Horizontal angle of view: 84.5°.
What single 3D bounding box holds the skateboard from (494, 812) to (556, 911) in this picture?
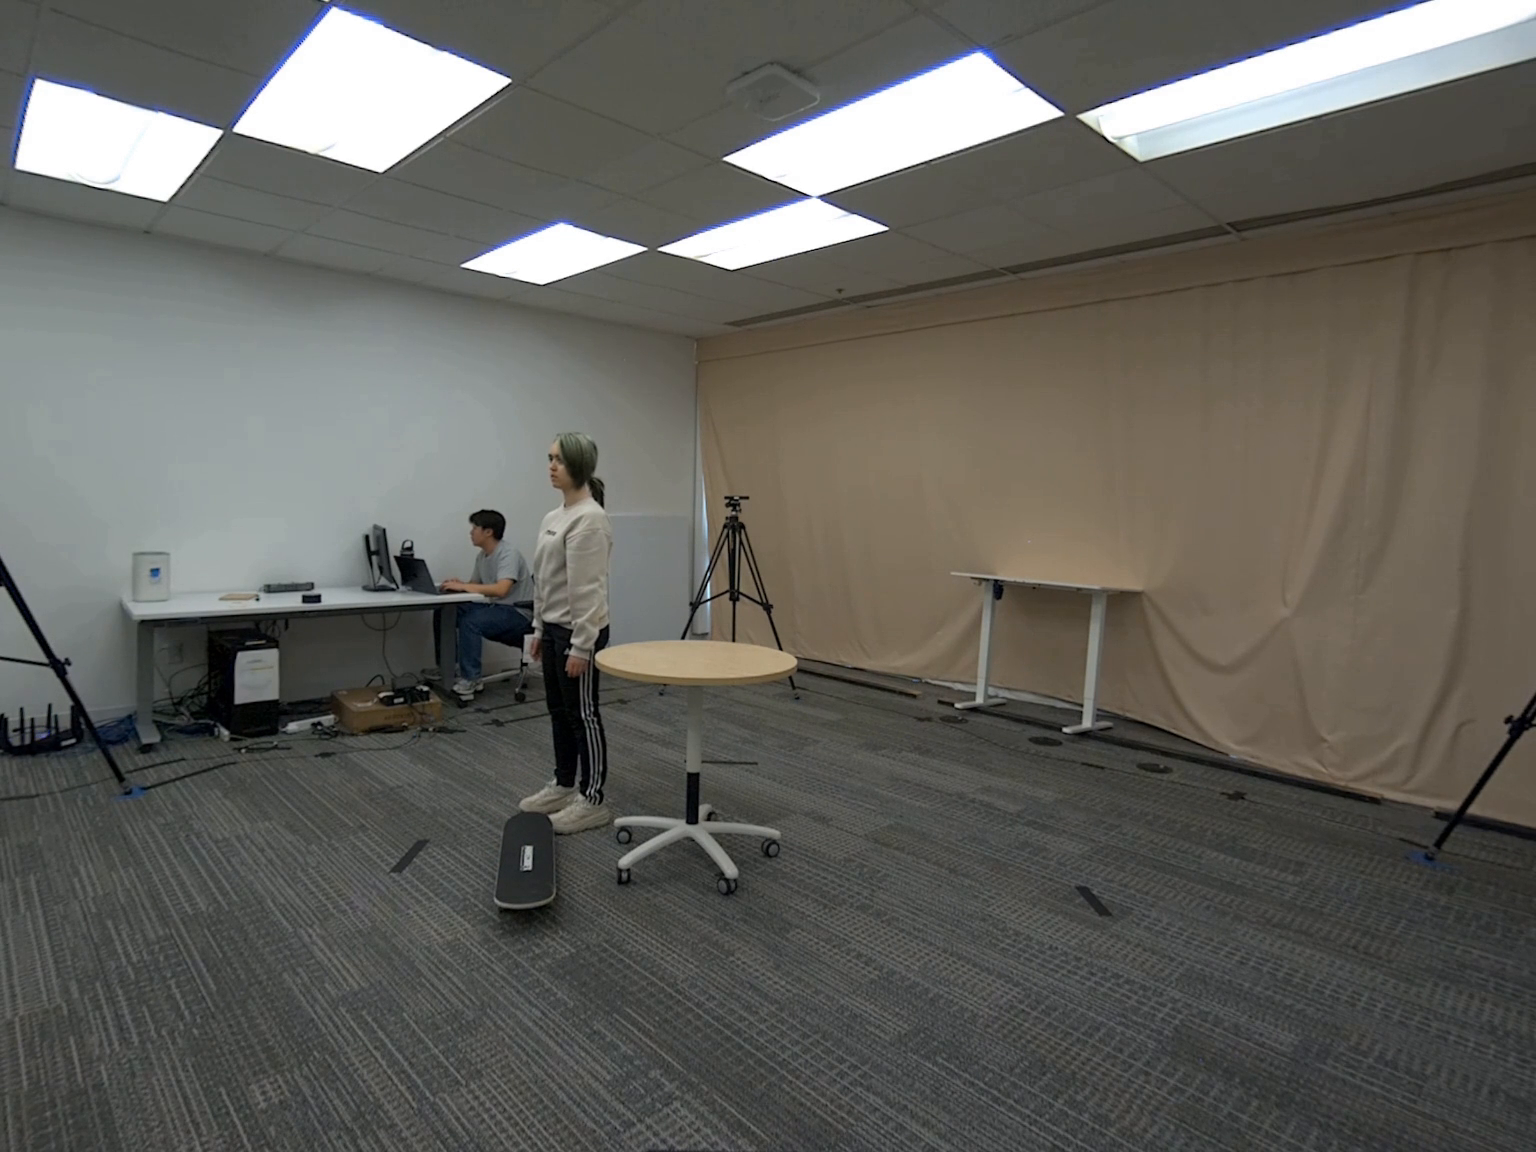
[{"bbox_3d":[-0.854,1.032,3.016,0.191,0.110,0.796,-3,5,-14],"label":"skateboard"}]
